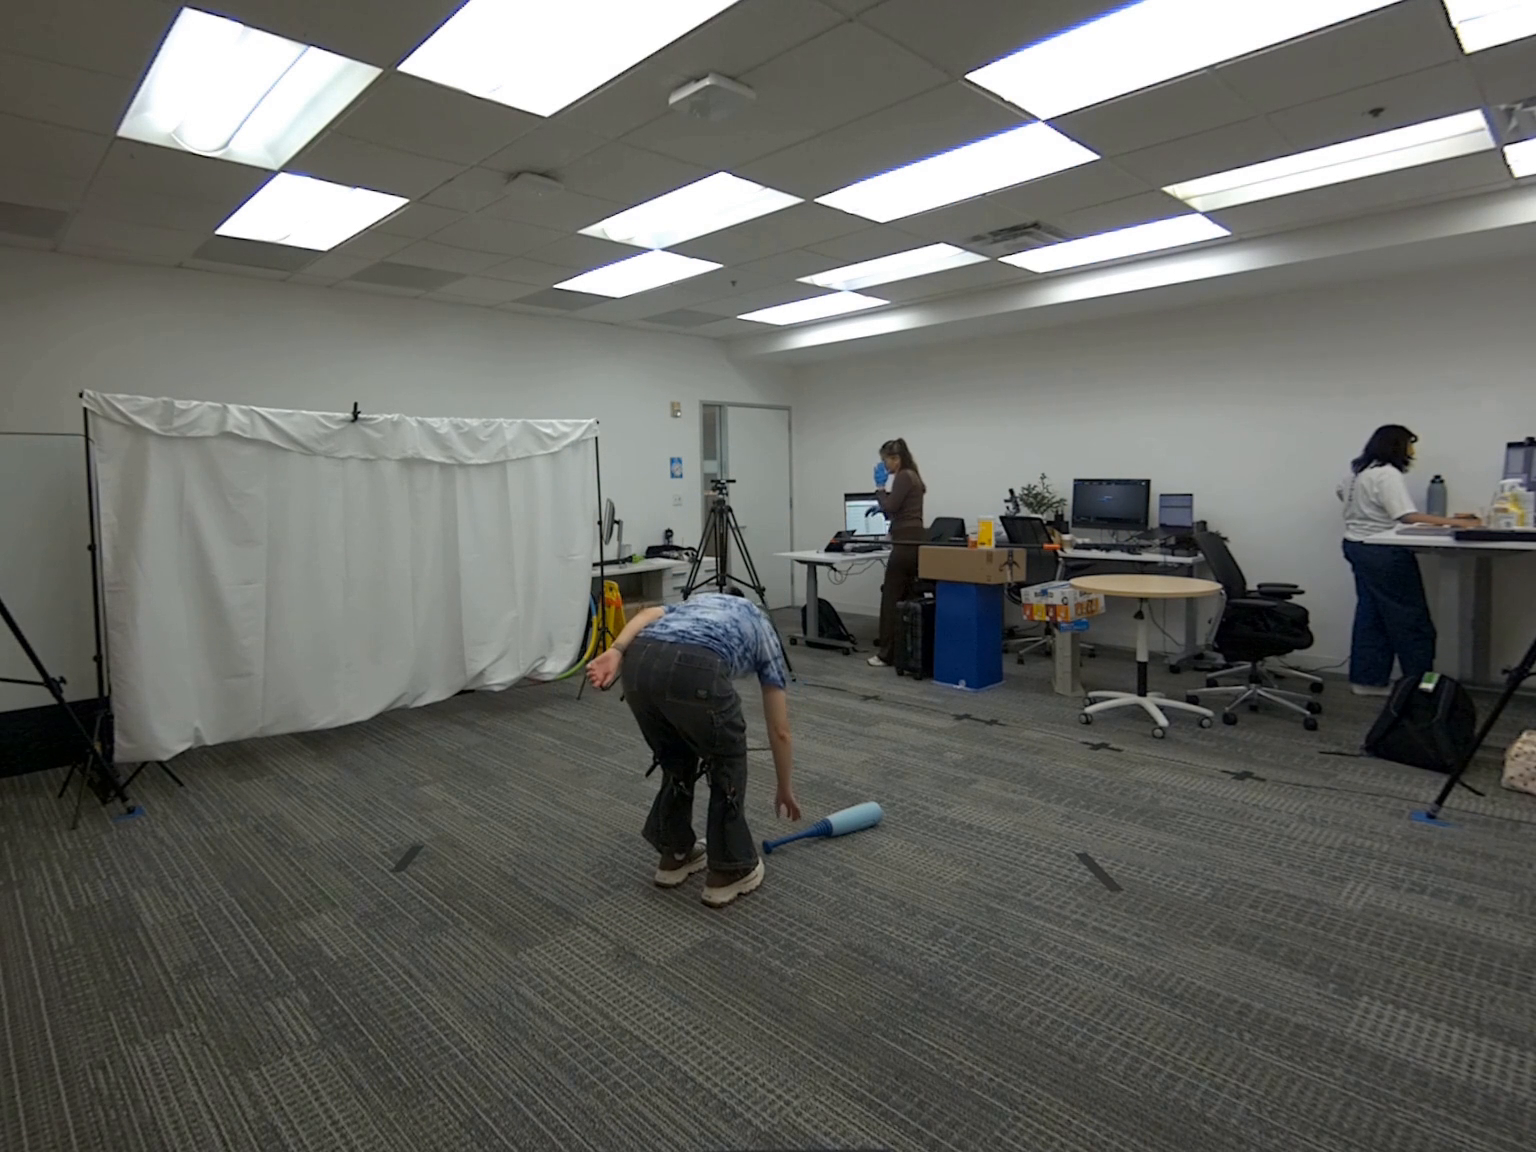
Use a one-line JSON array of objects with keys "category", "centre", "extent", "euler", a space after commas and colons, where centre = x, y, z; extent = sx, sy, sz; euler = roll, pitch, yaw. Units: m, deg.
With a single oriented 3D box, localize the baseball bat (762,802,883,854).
[{"category": "baseball bat", "centre": [0.217, 0.987, 3.318], "extent": [0.531, 0.088, 0.091], "euler": [-8, 8, -29]}]
